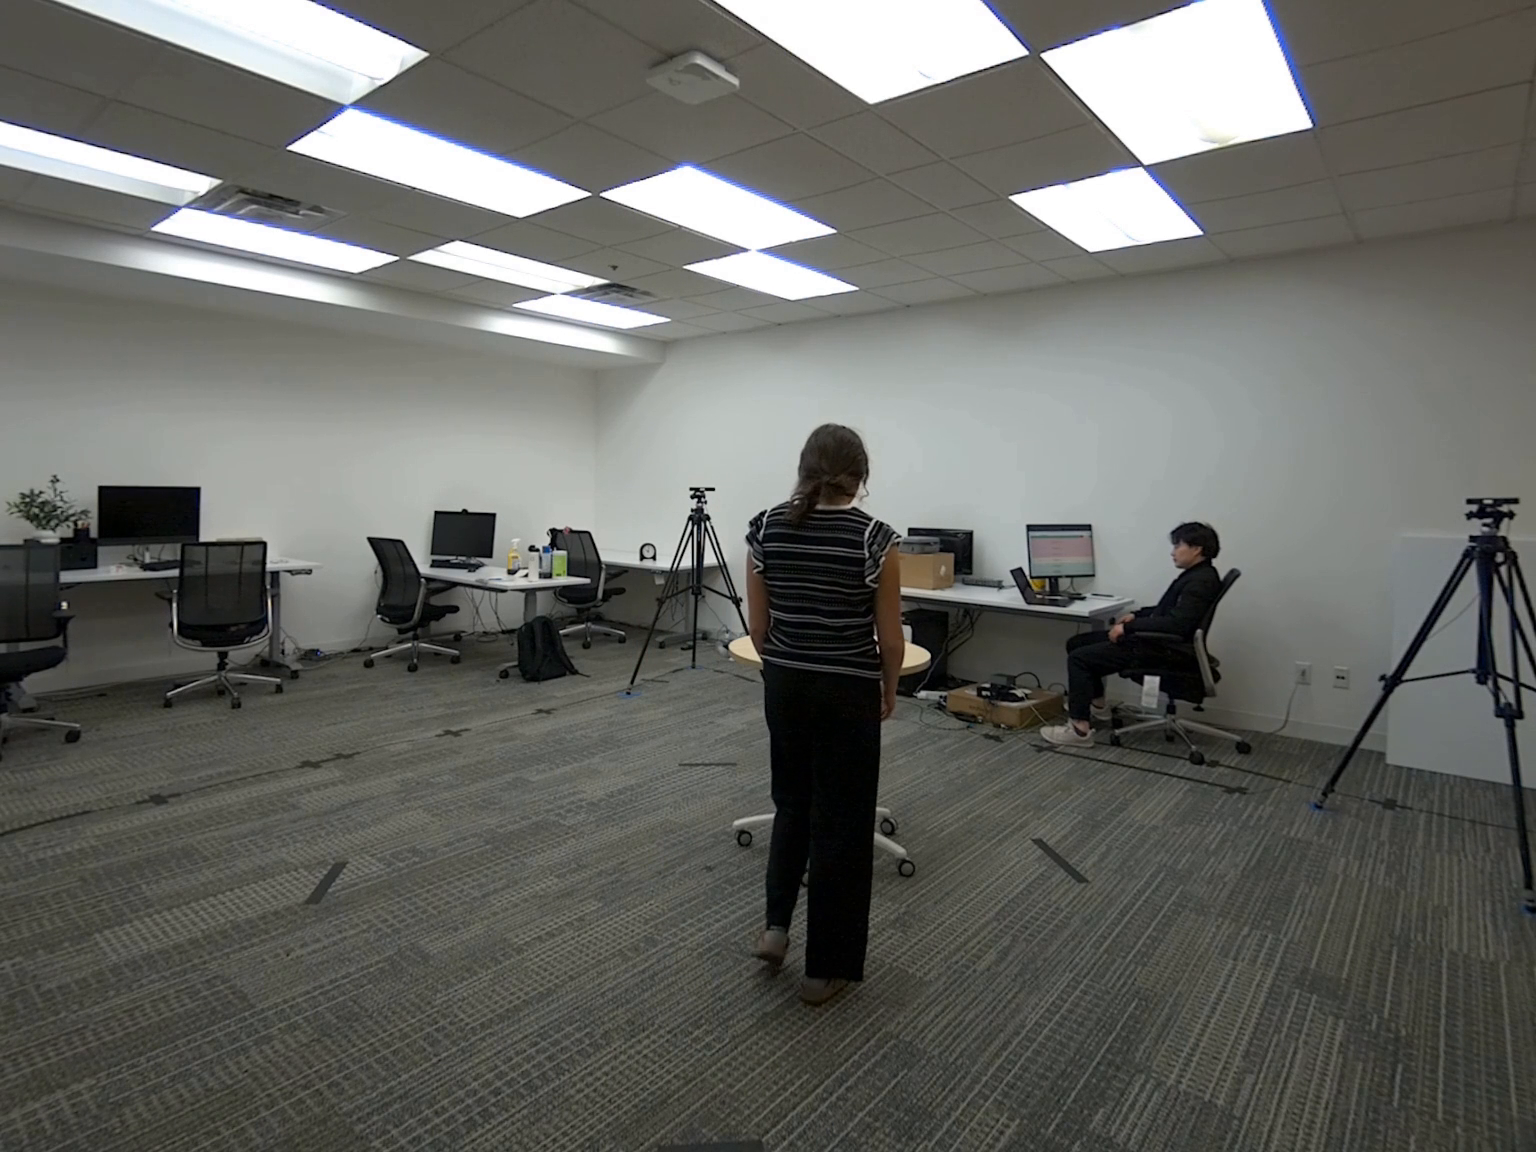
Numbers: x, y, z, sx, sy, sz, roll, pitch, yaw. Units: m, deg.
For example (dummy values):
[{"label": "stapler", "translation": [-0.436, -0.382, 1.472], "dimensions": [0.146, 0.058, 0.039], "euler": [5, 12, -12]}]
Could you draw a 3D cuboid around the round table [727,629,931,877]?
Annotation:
[{"label": "round table", "translation": [0.215, 0.666, 3.291], "dimensions": [0.763, 0.791, 0.768], "euler": [1, 5, -2]}]
